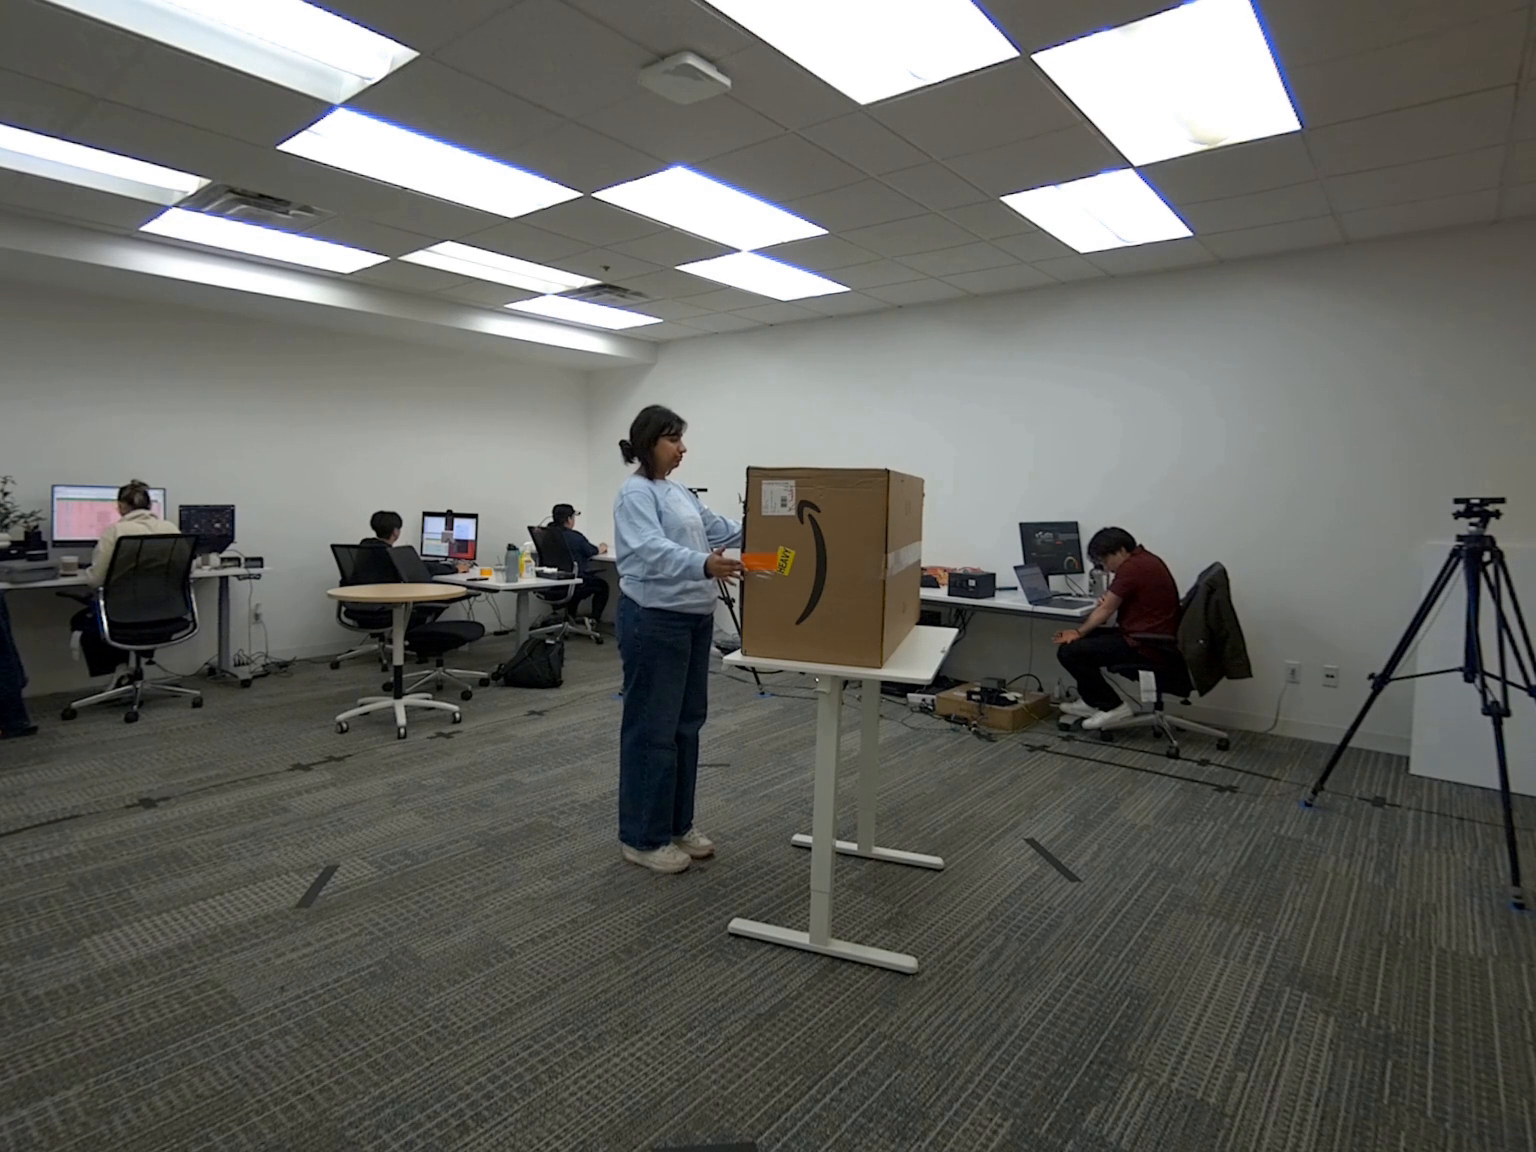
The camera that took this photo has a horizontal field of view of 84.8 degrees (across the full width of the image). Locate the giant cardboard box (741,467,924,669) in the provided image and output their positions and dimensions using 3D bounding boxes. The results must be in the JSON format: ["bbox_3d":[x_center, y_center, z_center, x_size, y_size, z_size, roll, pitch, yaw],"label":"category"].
[{"bbox_3d":[0.265,-0.070,2.946,0.435,0.576,1.008,3,5,18],"label":"giant cardboard box"}]
